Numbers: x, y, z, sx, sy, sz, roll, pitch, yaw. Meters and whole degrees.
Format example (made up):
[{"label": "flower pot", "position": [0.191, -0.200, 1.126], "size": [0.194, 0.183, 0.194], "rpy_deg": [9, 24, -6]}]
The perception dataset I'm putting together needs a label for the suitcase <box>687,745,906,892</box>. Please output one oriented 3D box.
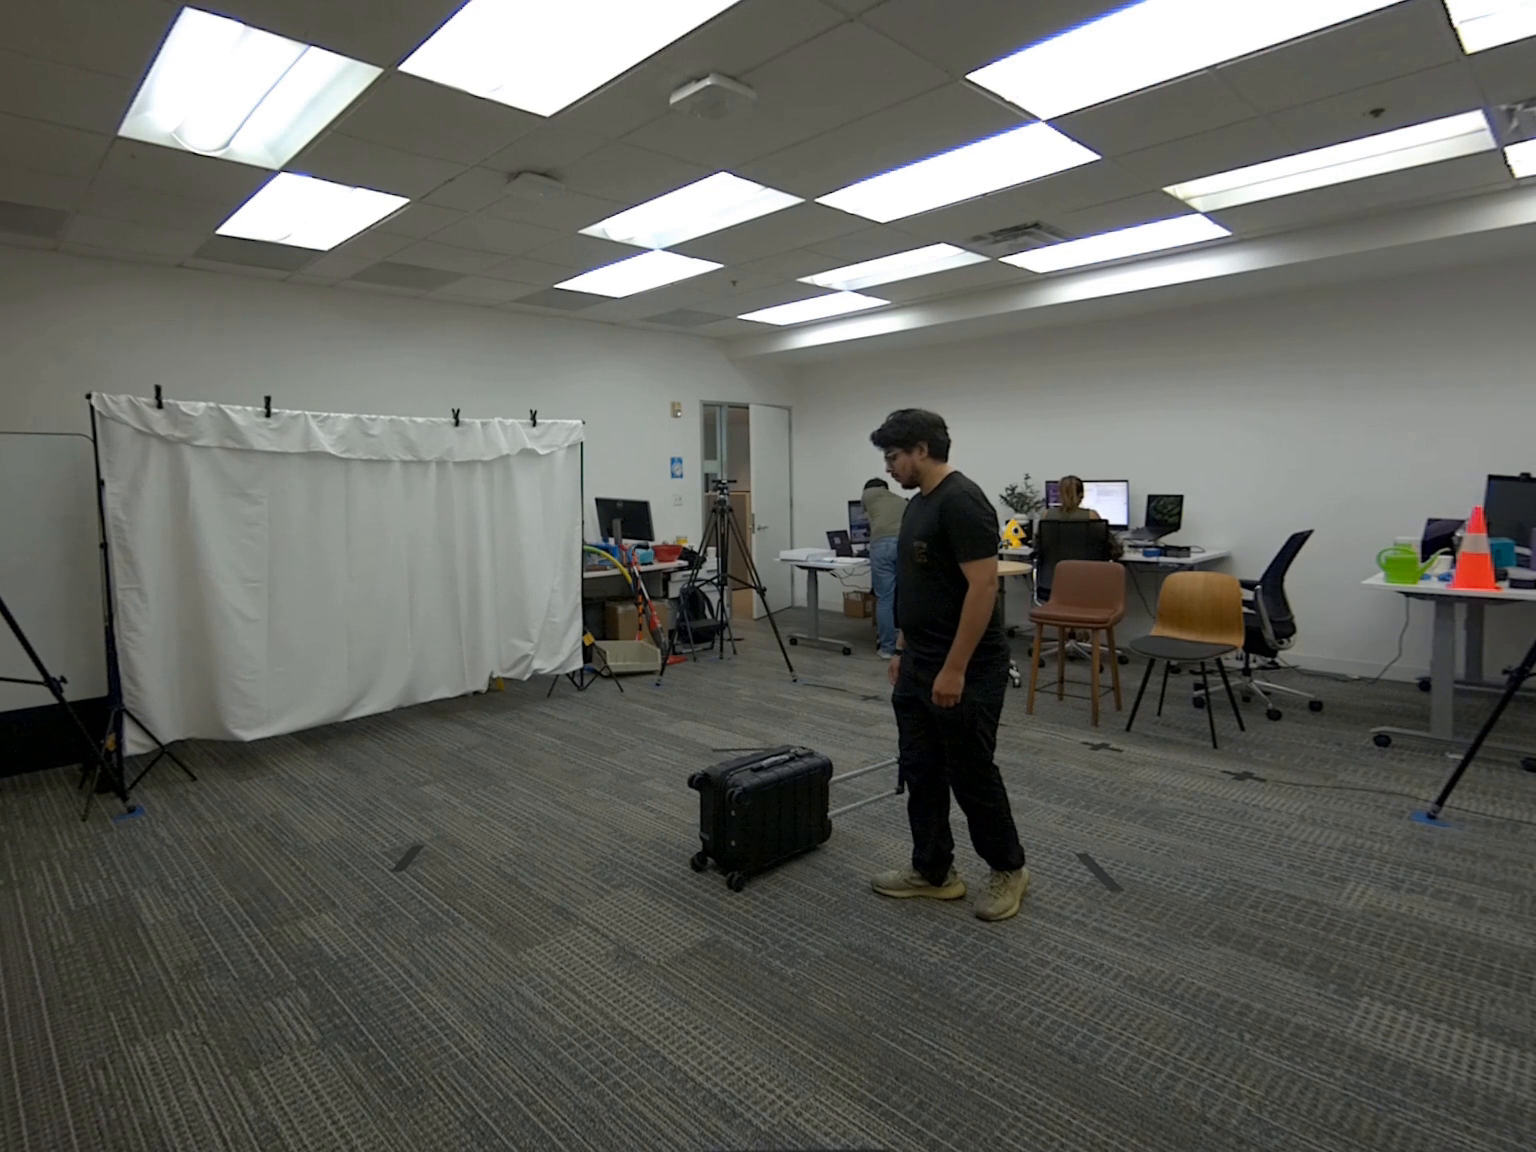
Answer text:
[{"label": "suitcase", "position": [0.137, 0.836, 3.296], "size": [0.953, 0.383, 0.265], "rpy_deg": [-6, 6, -44]}]
